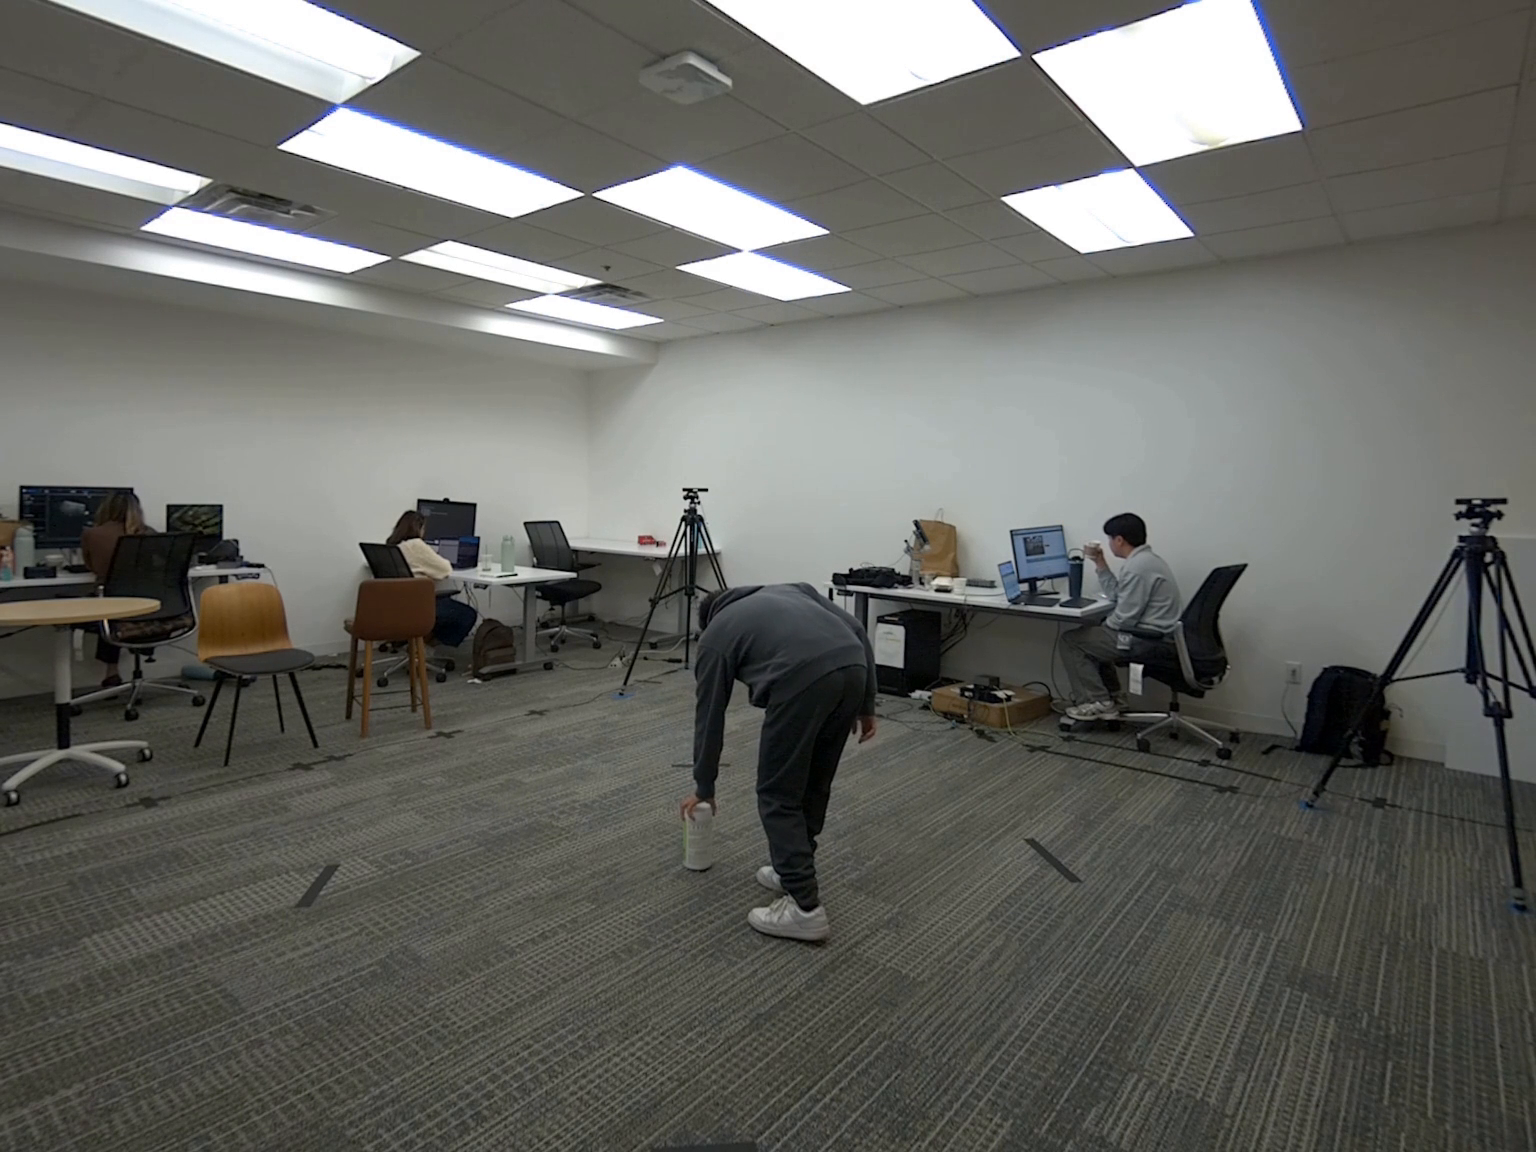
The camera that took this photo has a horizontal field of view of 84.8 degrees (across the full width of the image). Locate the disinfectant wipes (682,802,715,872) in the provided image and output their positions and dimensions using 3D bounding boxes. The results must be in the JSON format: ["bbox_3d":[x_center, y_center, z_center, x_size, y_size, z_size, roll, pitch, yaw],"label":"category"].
[{"bbox_3d":[-0.264,0.957,3.137,0.118,0.217,0.118,1,3,-2],"label":"disinfectant wipes"}]
